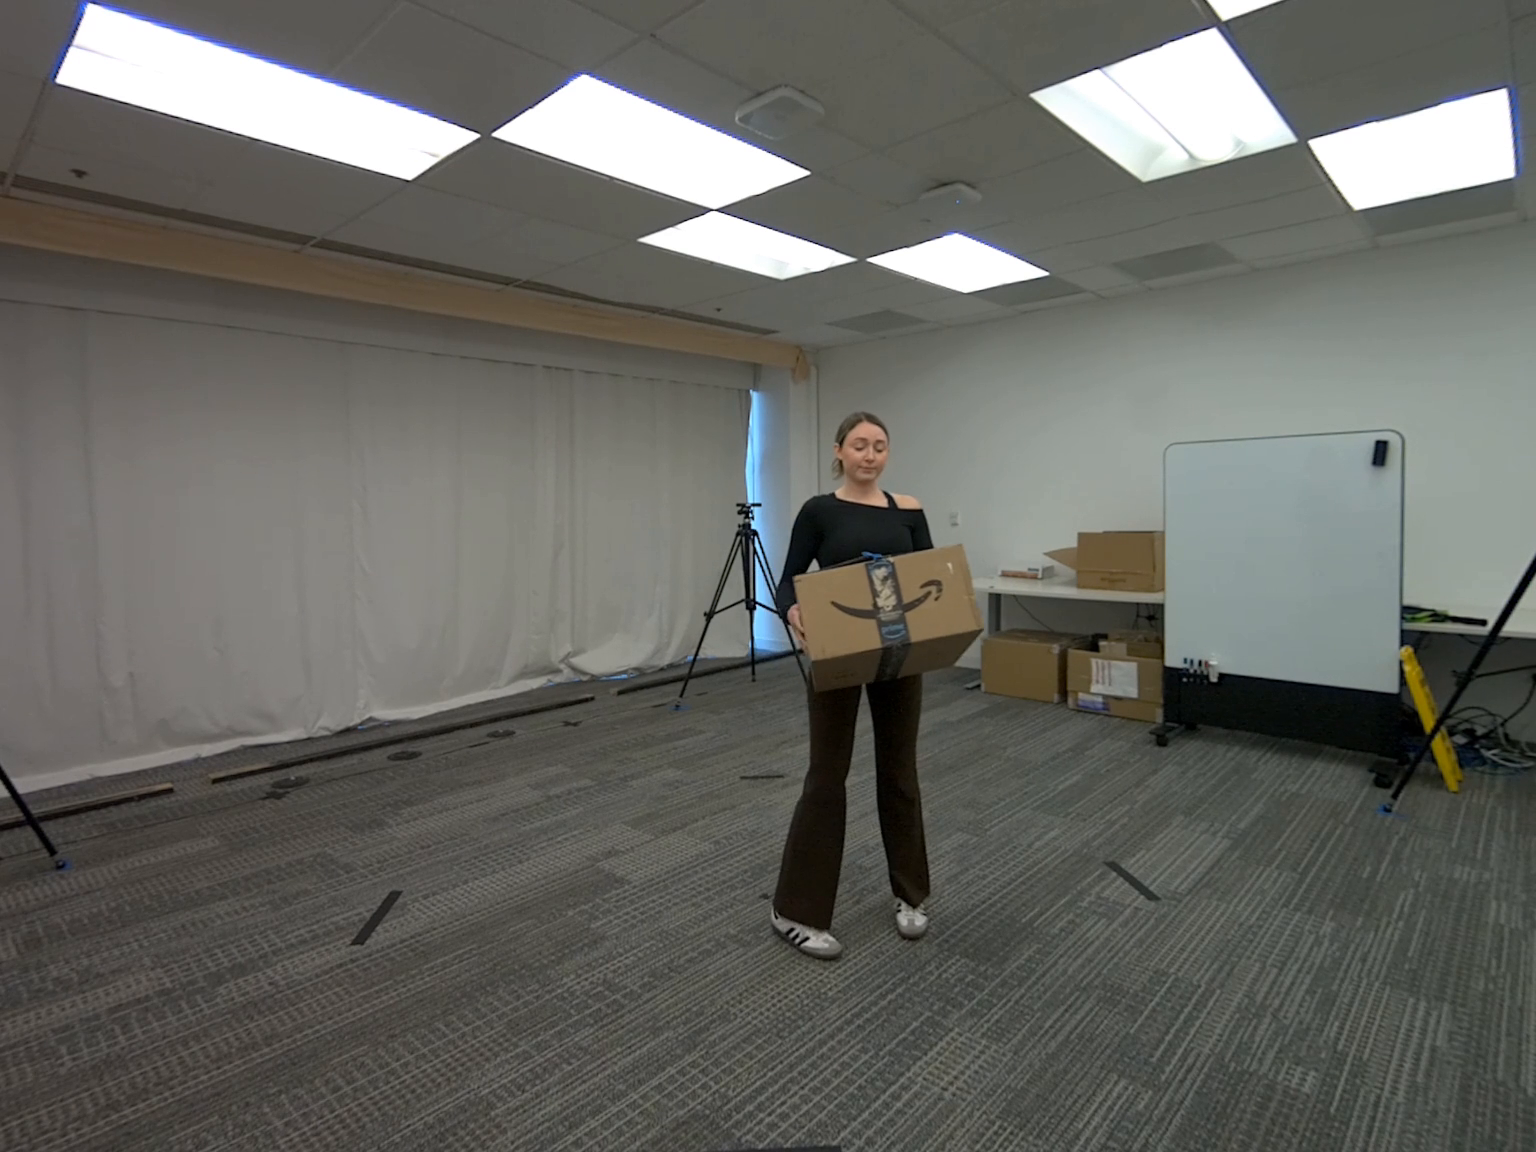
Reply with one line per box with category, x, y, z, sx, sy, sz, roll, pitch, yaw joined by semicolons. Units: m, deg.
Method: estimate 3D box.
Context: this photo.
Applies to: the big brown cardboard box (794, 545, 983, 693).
big brown cardboard box;0.301;0.133;2.267;0.419;0.236;0.578;-10;-18;3
